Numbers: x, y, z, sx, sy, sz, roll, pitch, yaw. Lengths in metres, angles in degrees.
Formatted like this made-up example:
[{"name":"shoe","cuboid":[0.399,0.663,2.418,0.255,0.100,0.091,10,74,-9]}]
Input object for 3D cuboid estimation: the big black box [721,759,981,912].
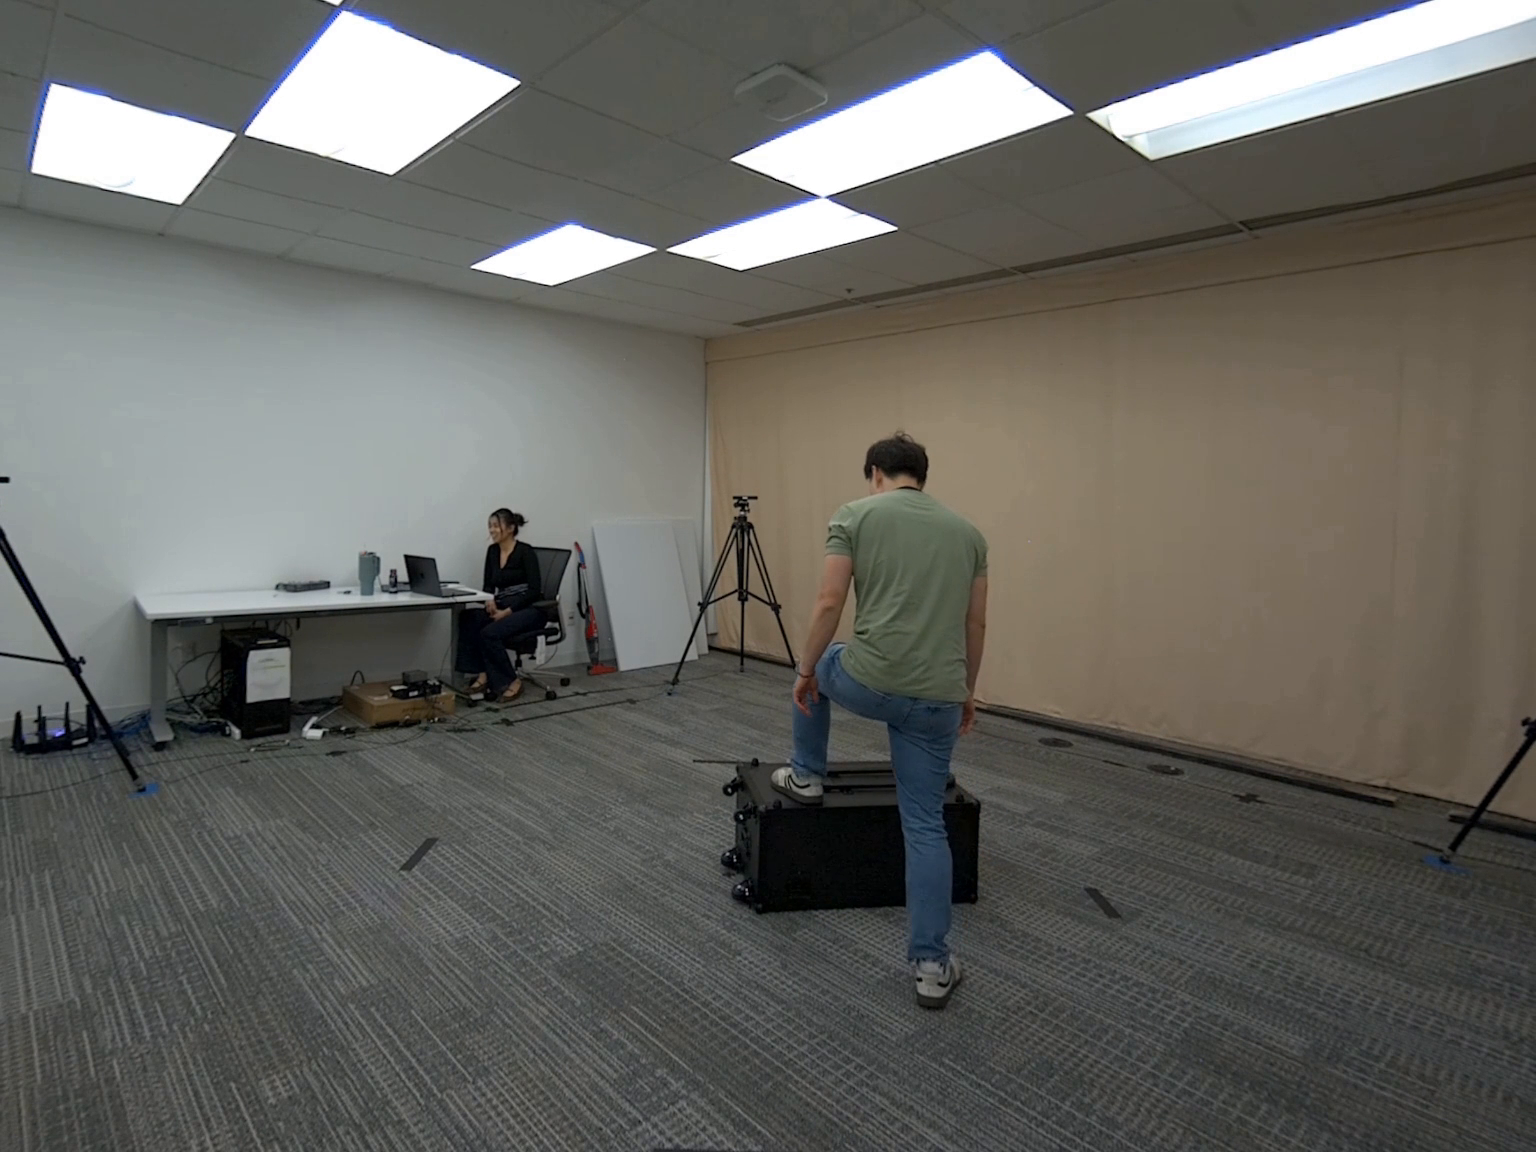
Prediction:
[{"name":"big black box","cuboid":[0.266,0.922,3.086,0.855,0.395,0.527,-1,5,-10]}]
